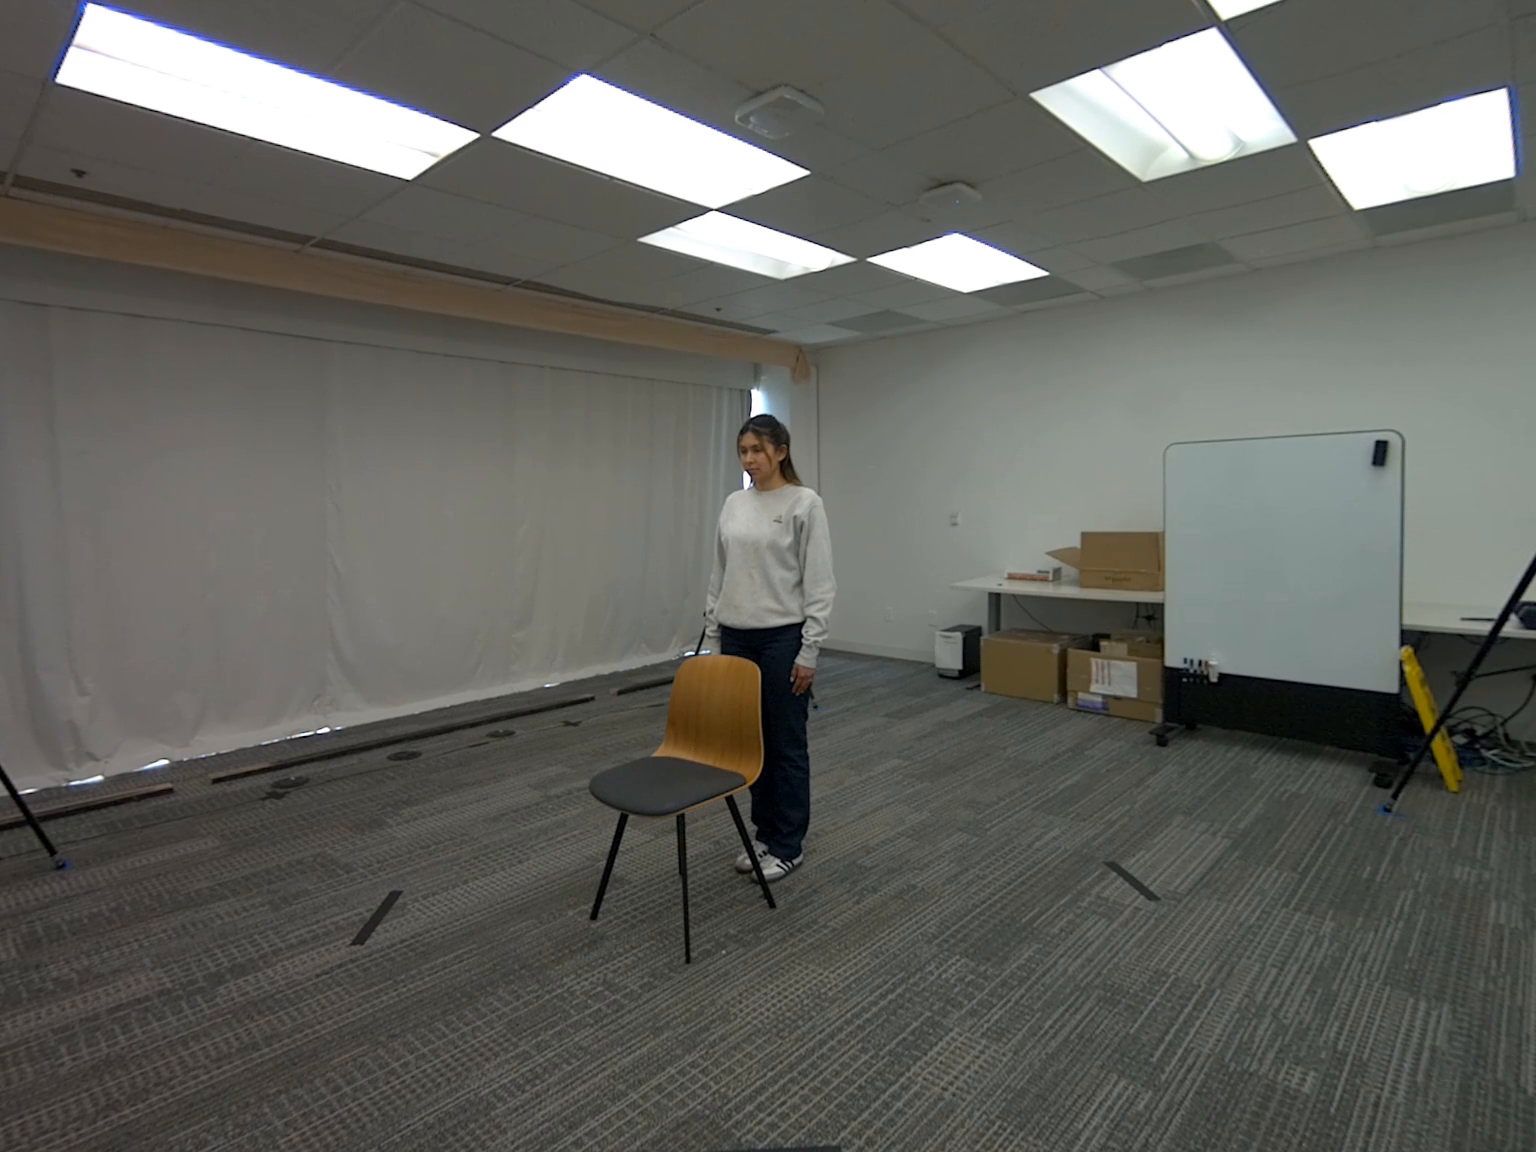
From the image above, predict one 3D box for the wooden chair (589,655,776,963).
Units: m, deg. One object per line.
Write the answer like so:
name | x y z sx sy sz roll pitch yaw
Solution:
wooden chair | -0.292 0.729 2.830 0.493 0.877 0.506 2 0 38
